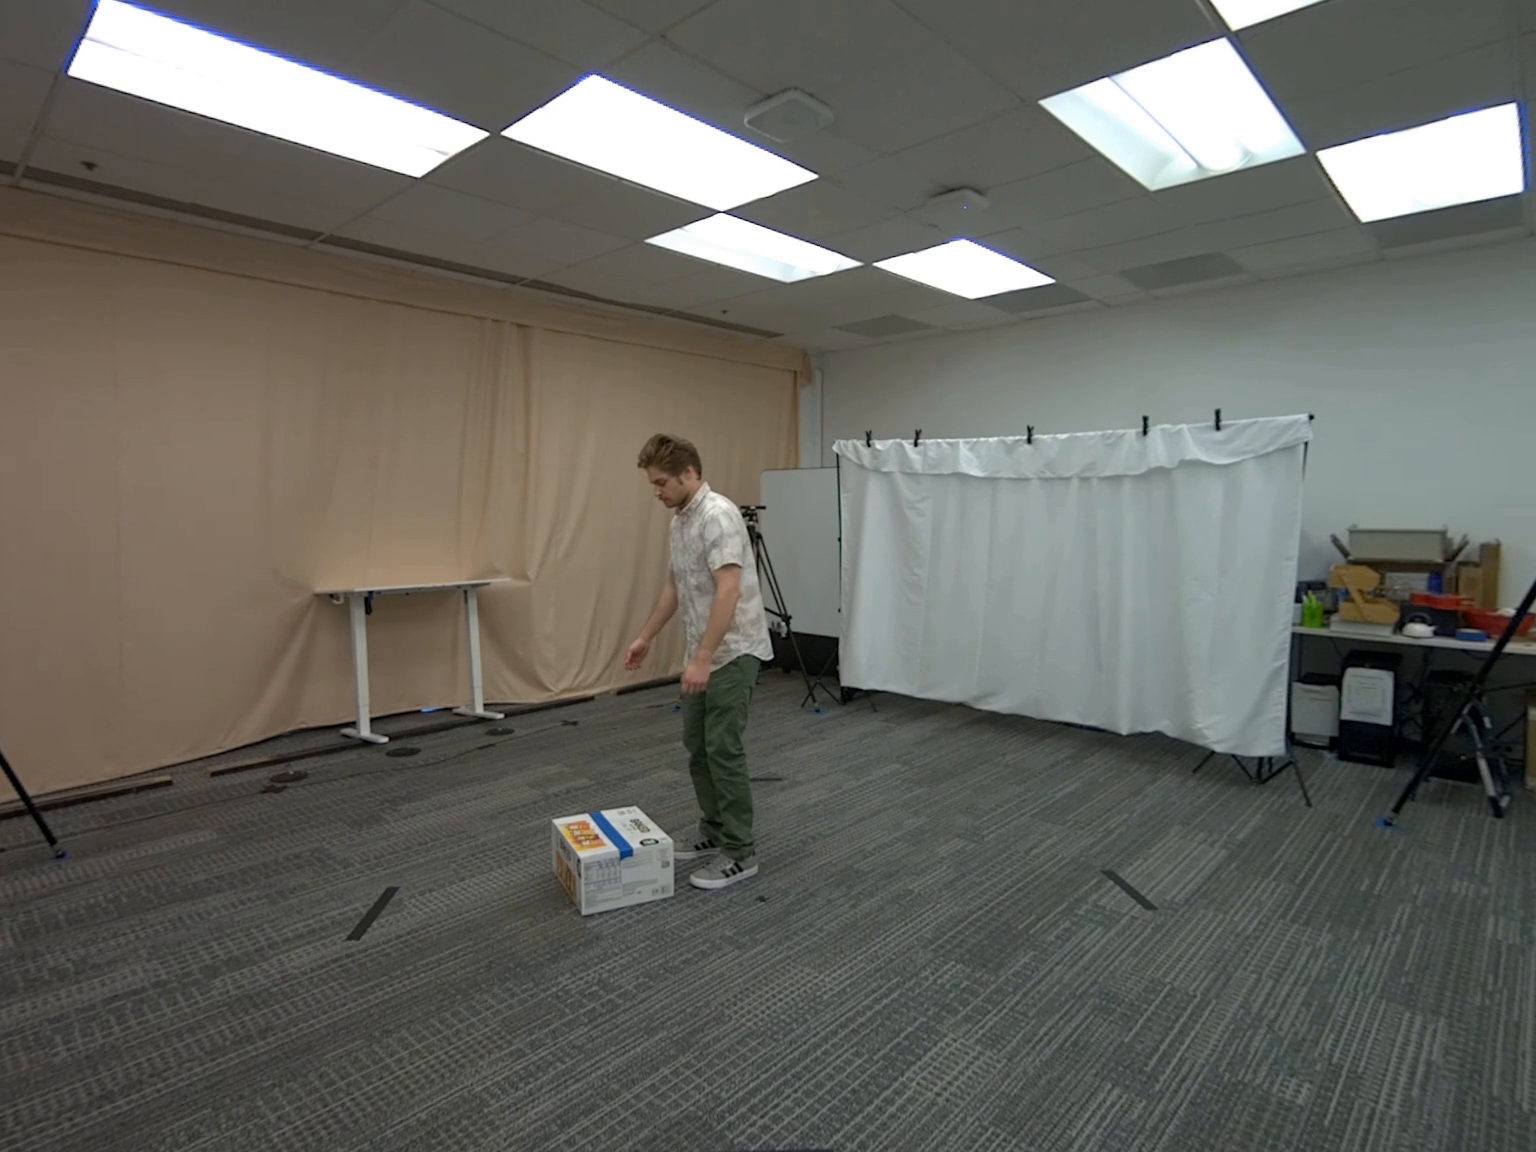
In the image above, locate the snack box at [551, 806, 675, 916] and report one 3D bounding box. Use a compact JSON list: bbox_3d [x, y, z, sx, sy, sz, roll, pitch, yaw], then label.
[{"bbox_3d":[-0.577,1.035,3.100,0.332,0.205,0.416,-2,4,-27],"label":"snack box"}]
